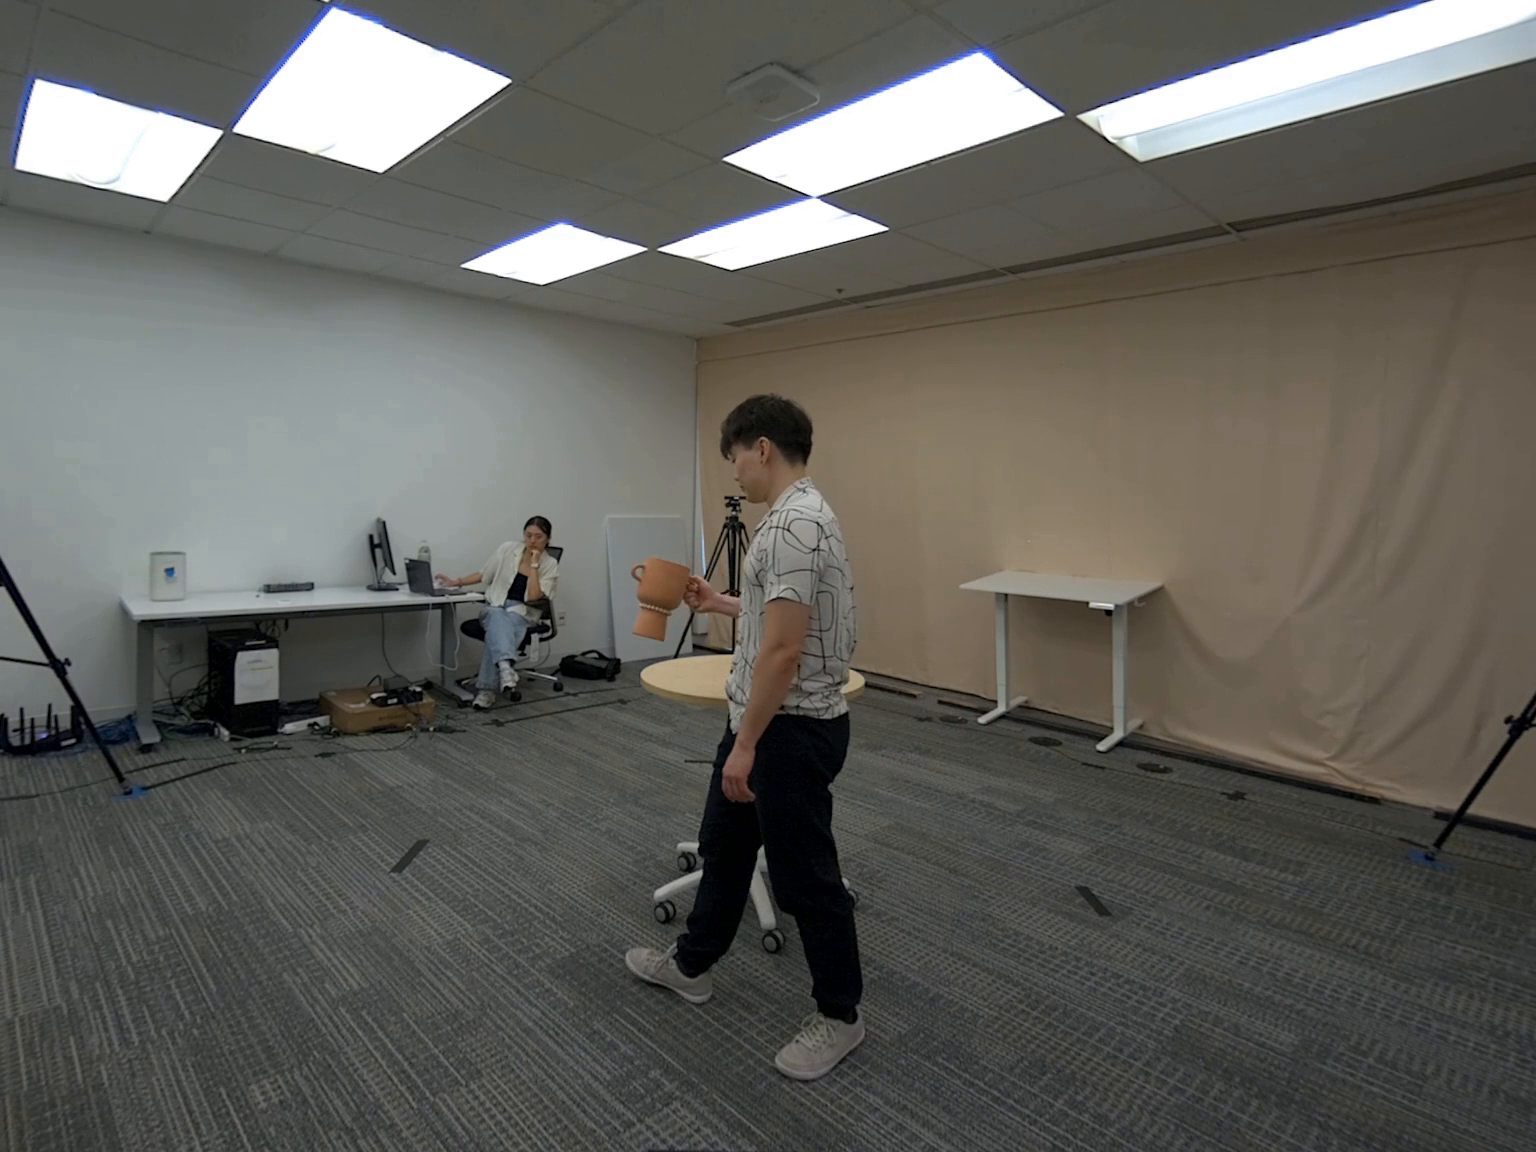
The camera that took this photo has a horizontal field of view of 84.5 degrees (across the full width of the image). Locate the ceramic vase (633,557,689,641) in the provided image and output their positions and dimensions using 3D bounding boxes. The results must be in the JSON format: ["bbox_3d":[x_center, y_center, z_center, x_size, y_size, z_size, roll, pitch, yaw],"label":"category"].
[{"bbox_3d":[-0.317,0.068,2.400,0.161,0.221,0.132,9,-8,15],"label":"ceramic vase"}]
